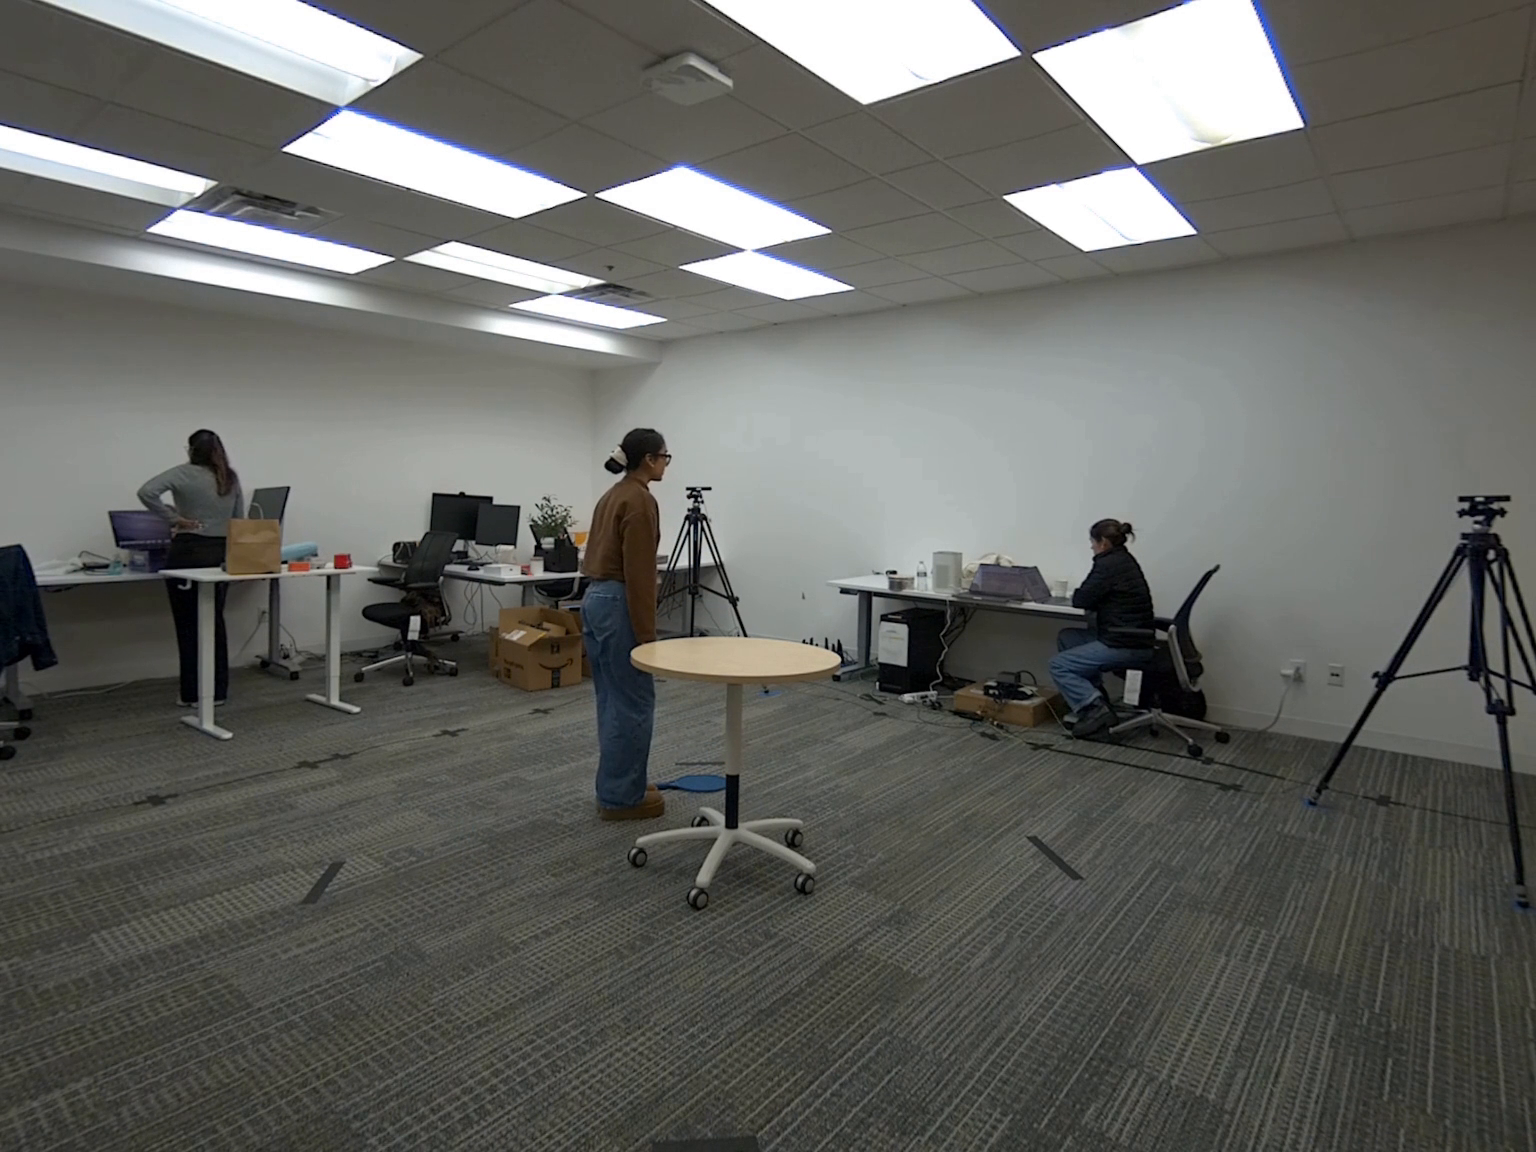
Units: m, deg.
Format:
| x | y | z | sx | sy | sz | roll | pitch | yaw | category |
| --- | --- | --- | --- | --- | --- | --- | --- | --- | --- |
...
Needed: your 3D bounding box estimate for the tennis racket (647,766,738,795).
| x | y | z | sx | sy | sz | roll | pitch | yaw | category |
| --- | --- | --- | --- | --- | --- | --- | --- | --- | --- |
| -0.389 | 0.960 | 3.957 | 0.423 | 0.031 | 0.219 | 0 | 5 | -22 | tennis racket |
